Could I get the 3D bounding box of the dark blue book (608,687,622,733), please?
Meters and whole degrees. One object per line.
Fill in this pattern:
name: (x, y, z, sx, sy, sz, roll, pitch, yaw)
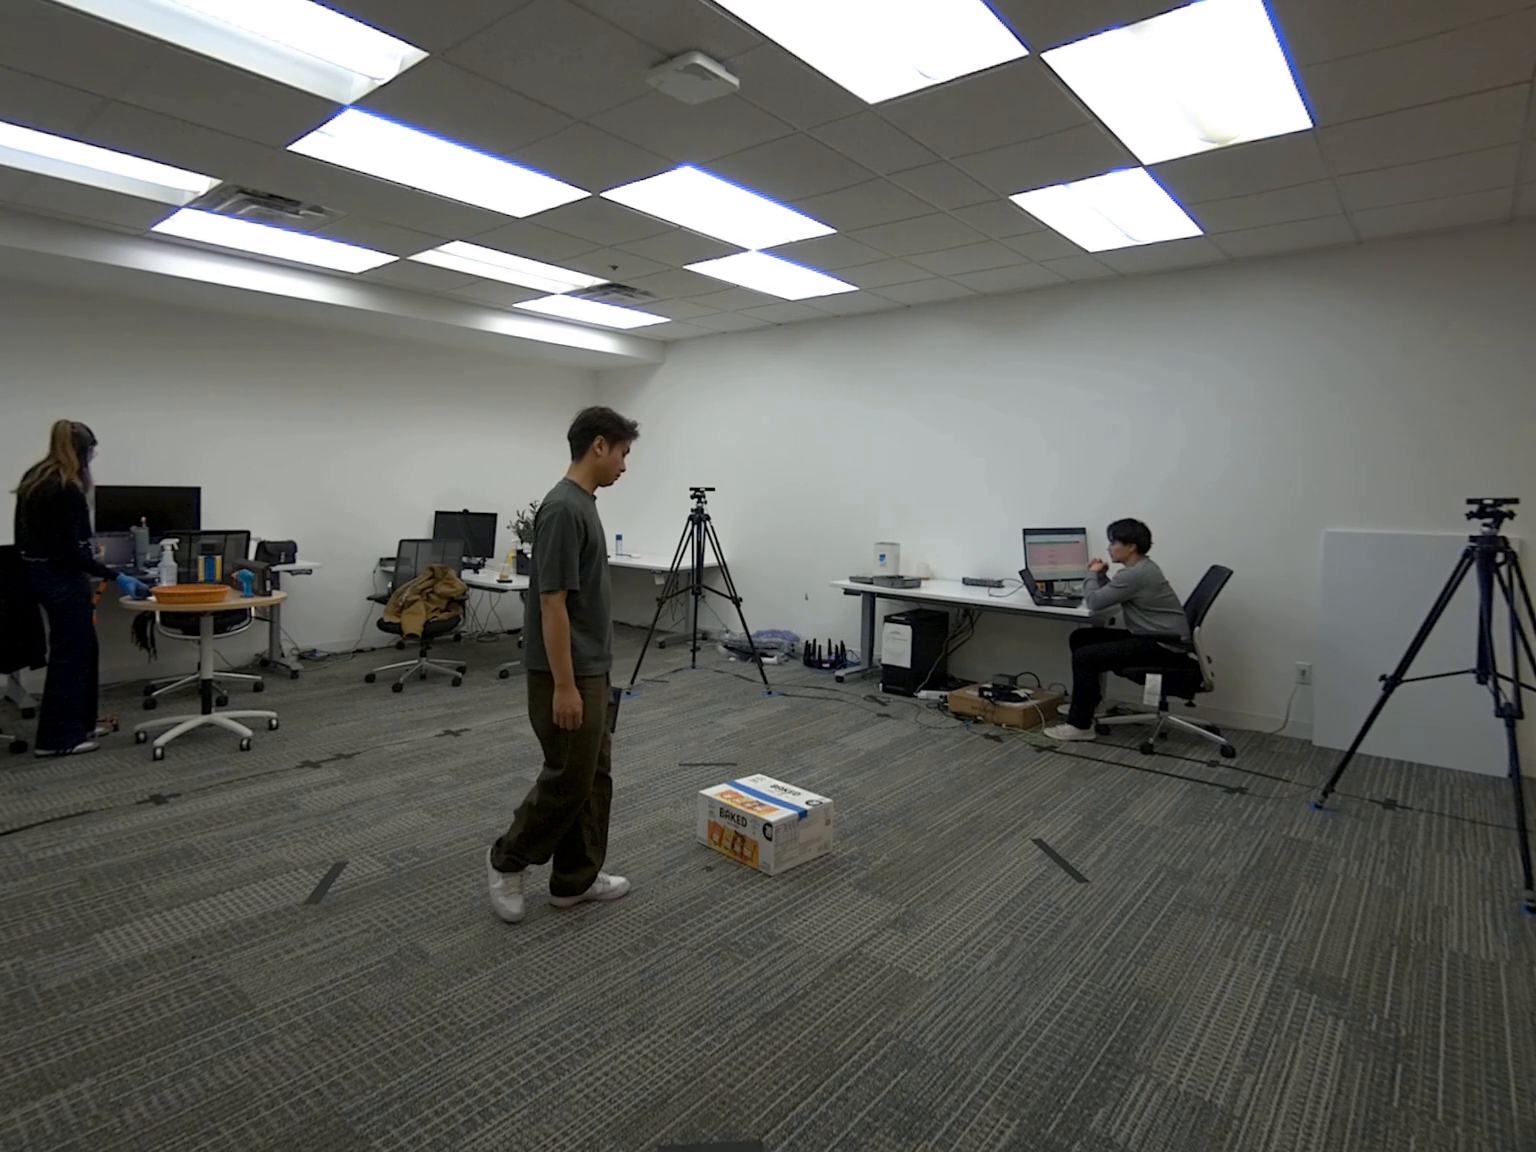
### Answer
dark blue book: (-0.653, 0.446, 3.012, 0.241, 0.165, 0.045, 9, -14, -14)
